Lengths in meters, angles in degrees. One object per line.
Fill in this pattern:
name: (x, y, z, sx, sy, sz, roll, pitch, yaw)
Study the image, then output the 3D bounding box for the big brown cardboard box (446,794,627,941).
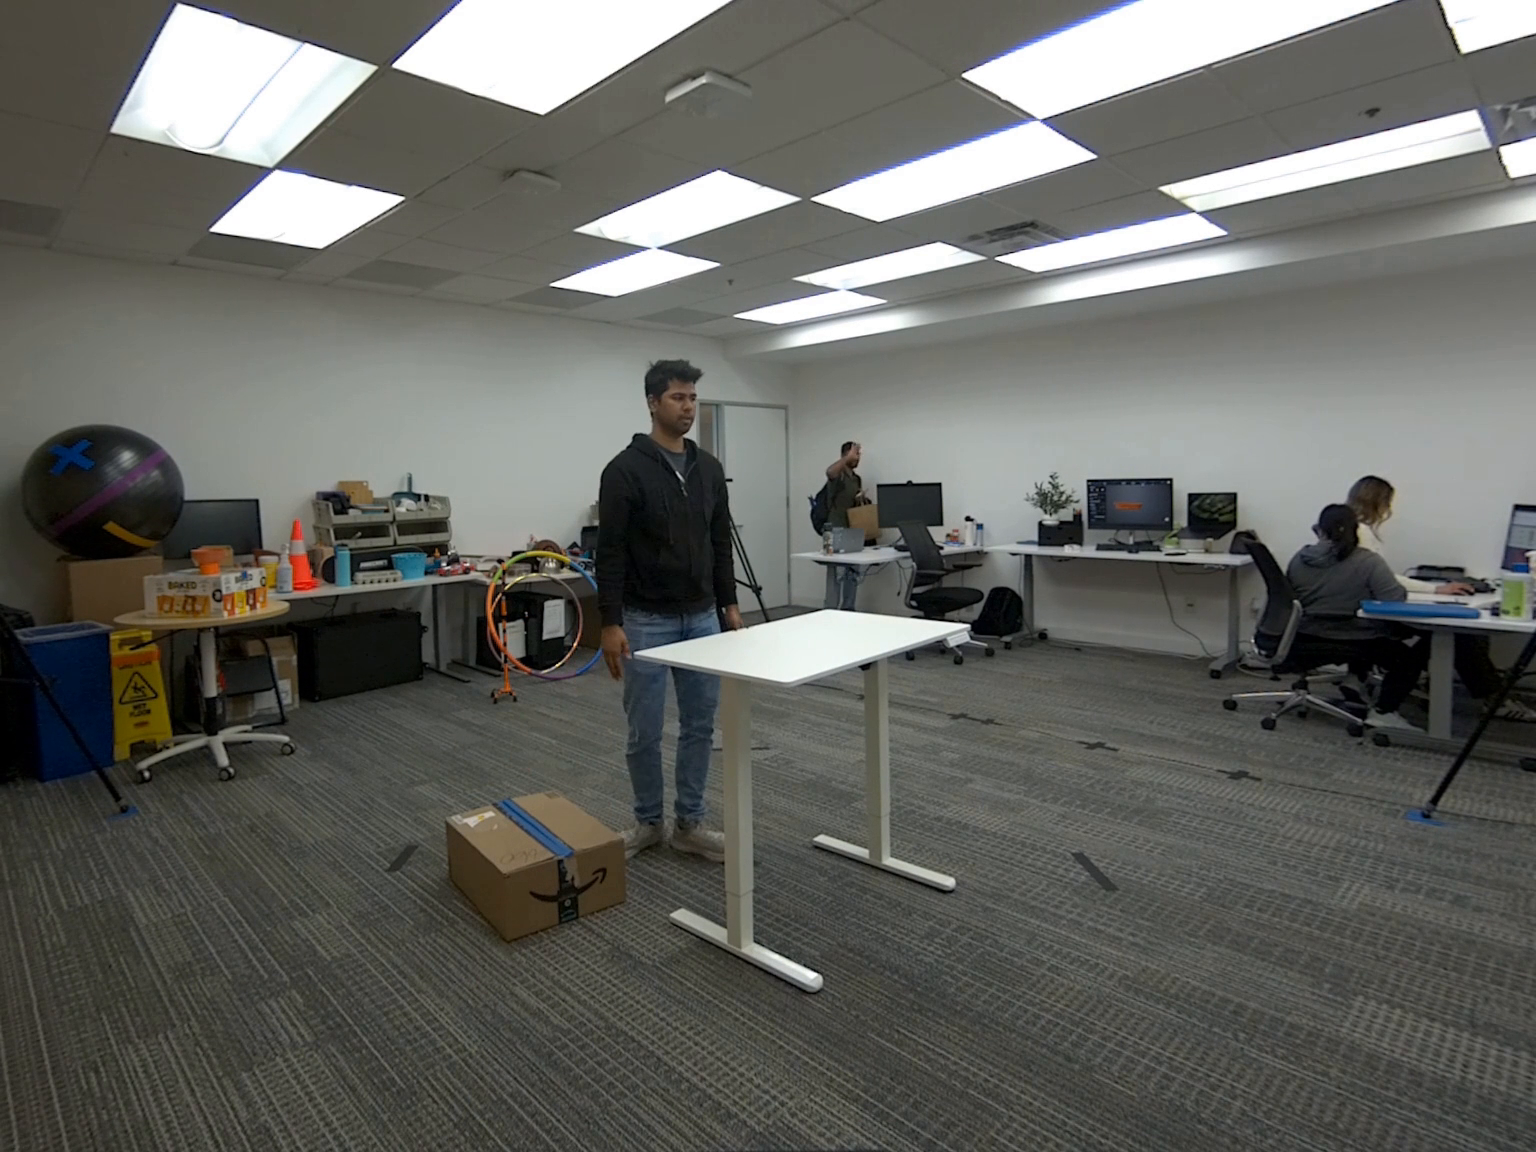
big brown cardboard box: (-0.809, 0.968, 2.943, 0.407, 0.232, 0.607, -6, 9, -37)
